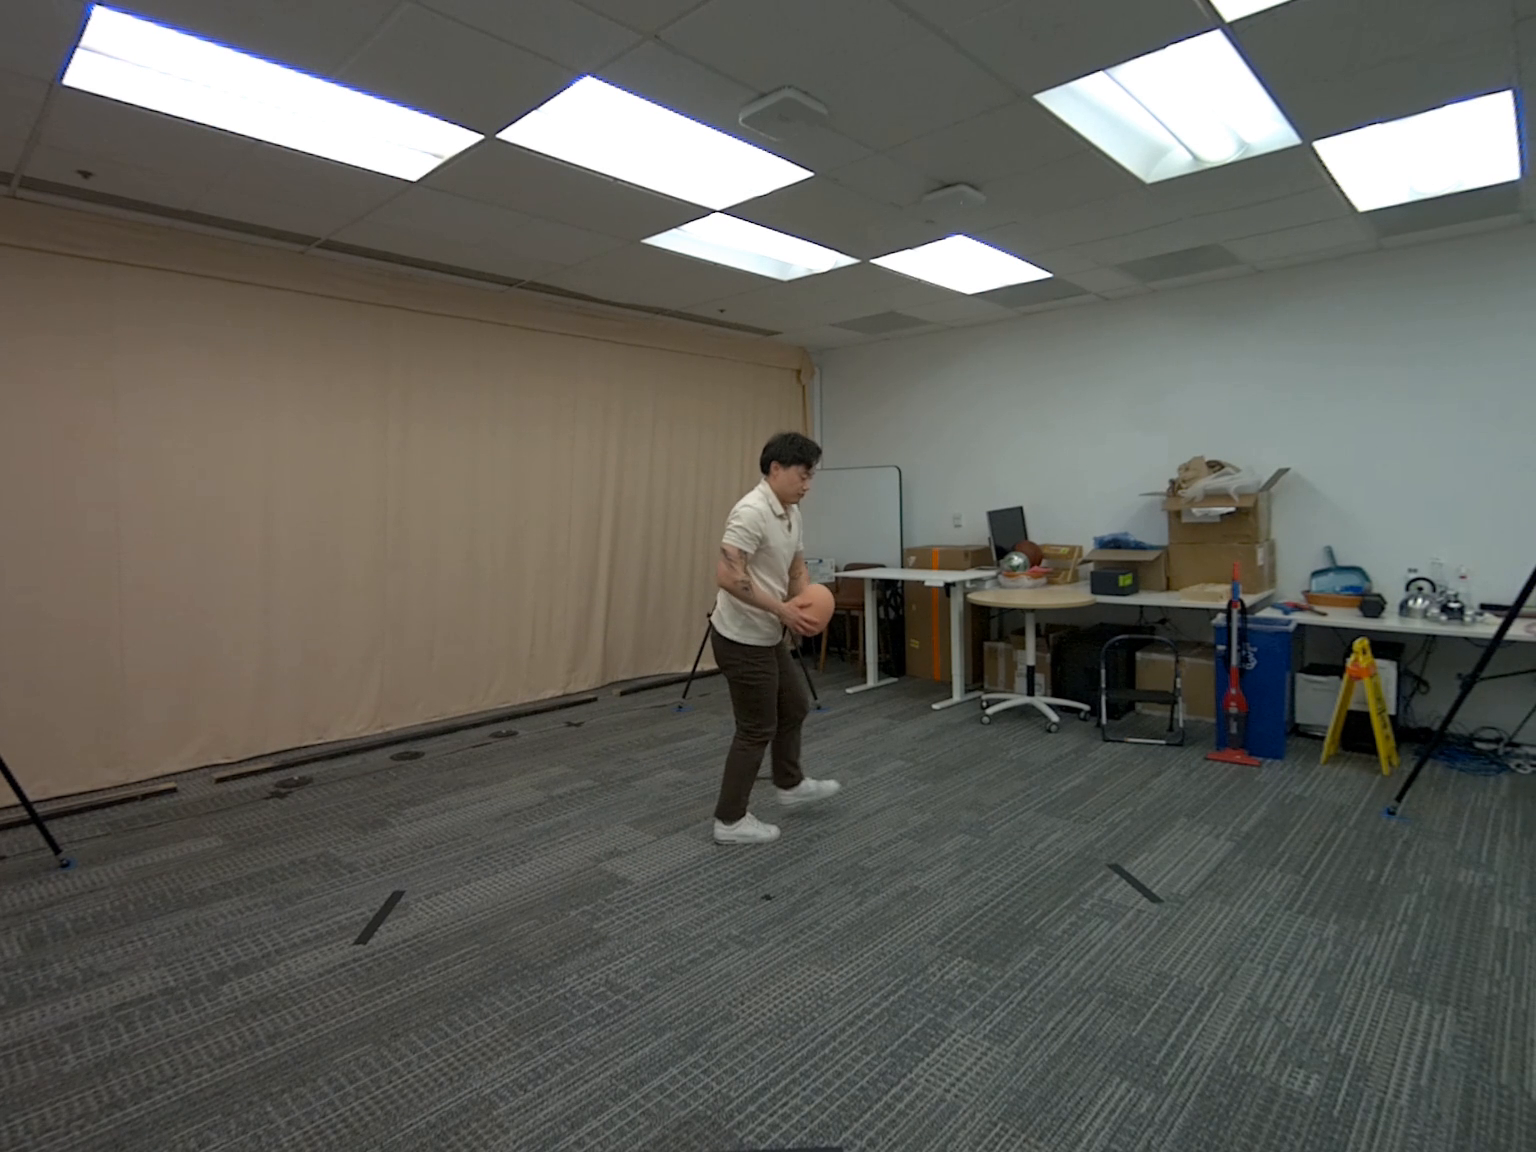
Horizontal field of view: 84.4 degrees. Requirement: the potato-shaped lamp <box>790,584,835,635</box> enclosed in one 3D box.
[{"bbox_3d":[0.150,0.123,3.236,0.175,0.198,0.162,27,9,15],"label":"potato-shaped lamp"}]
